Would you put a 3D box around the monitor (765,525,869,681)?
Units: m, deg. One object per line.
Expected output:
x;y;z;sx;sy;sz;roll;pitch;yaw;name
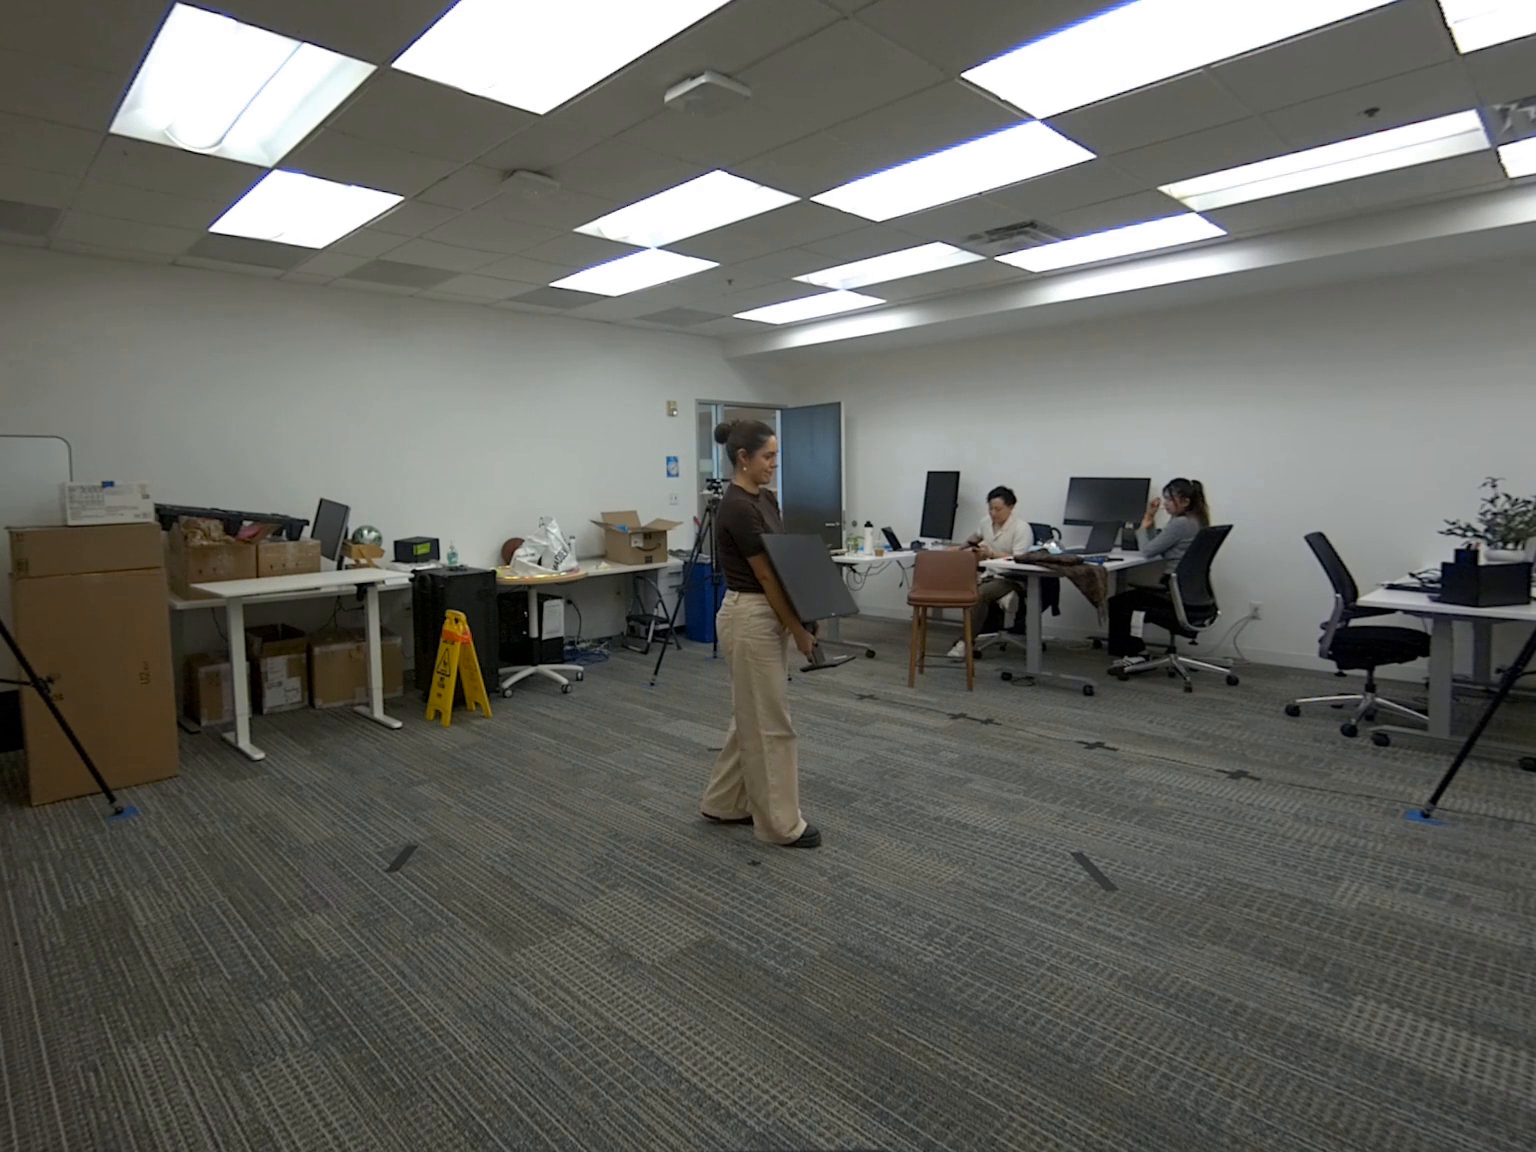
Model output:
0.161;0.093;3.268;0.190;0.527;0.527;-16;-7;21;monitor
